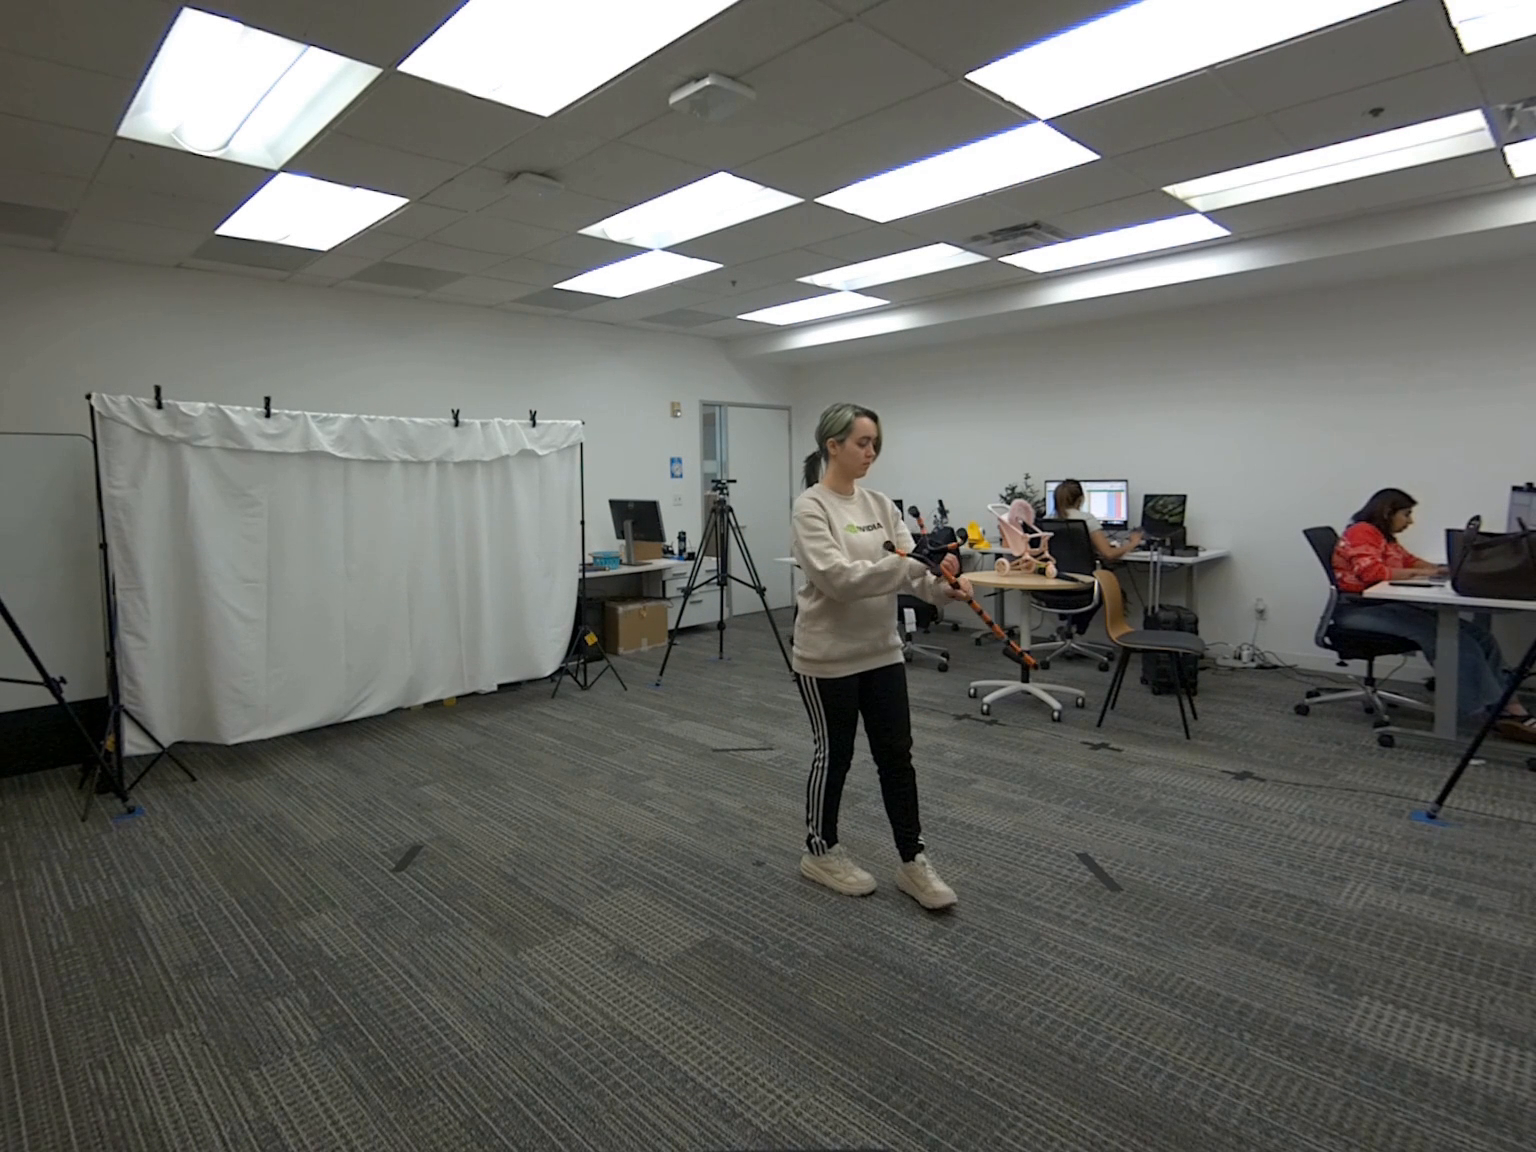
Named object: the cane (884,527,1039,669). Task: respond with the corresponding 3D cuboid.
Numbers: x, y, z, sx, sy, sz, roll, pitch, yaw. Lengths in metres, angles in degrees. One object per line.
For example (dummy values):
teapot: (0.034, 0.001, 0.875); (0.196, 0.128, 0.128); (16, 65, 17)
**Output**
cane: (0.681, 0.106, 2.634); (0.872, 0.151, 0.215); (41, -1, -43)
